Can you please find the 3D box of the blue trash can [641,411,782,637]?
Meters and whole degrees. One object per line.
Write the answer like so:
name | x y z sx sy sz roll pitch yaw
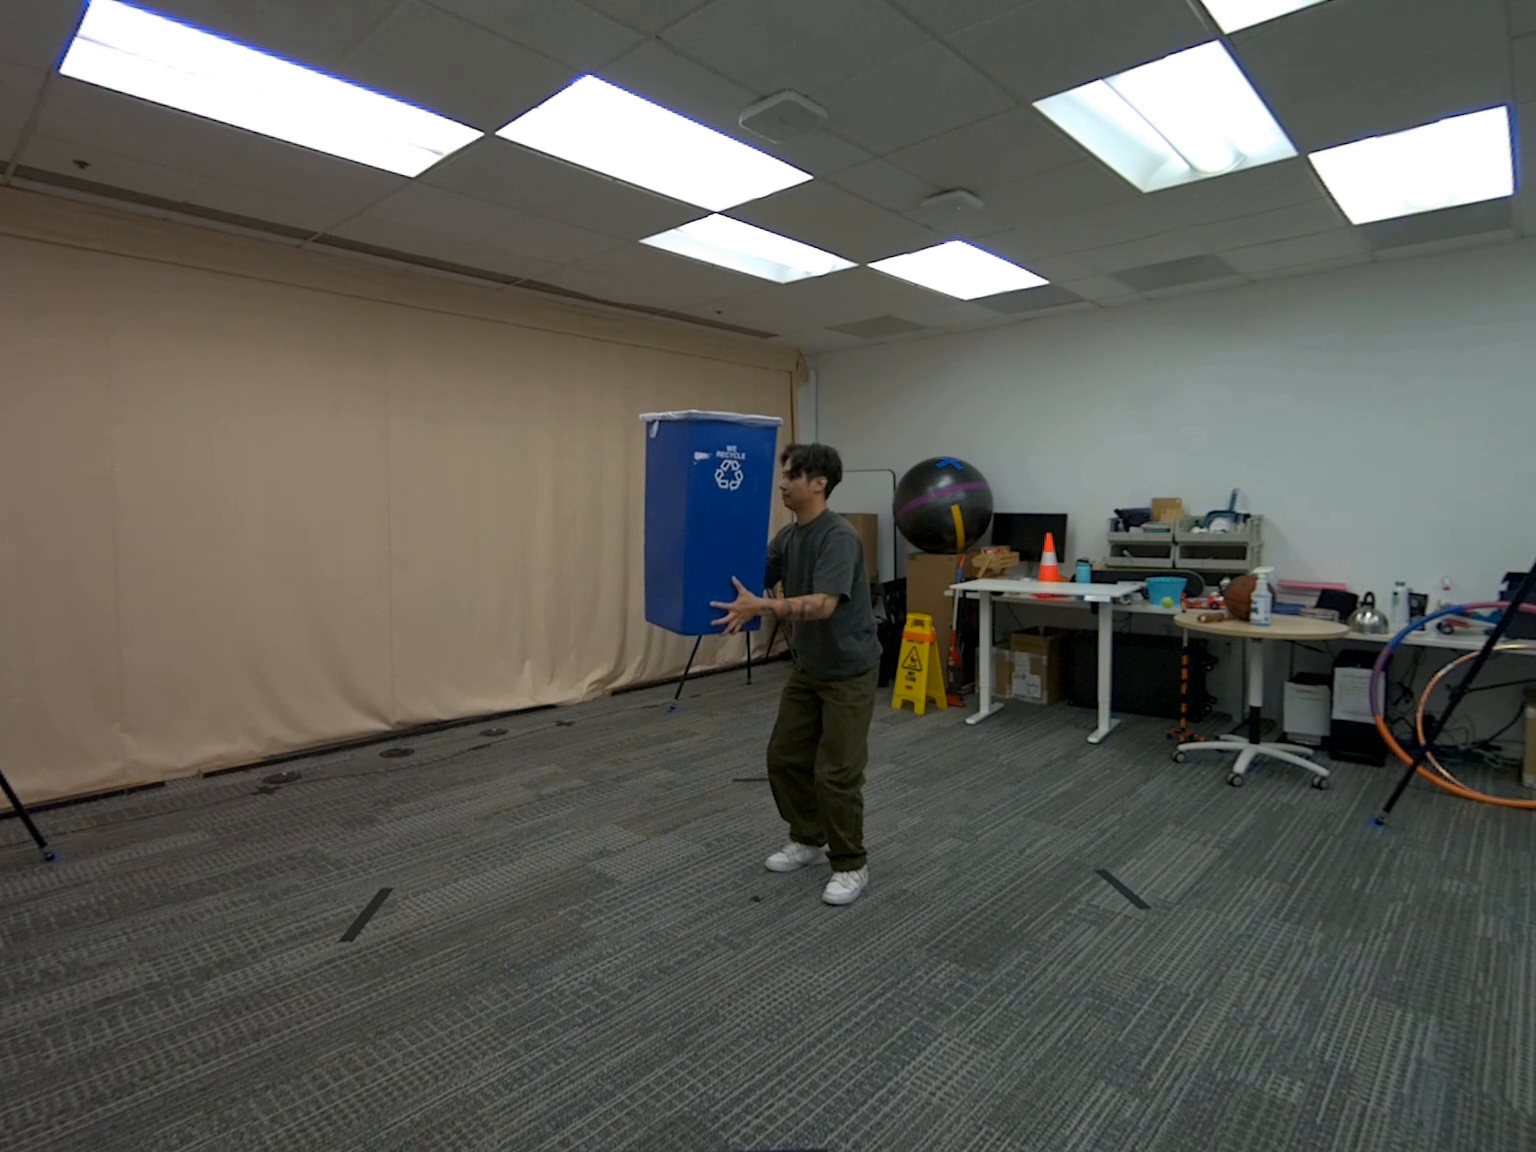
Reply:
blue trash can | -0.201 -0.187 2.857 0.367 0.711 0.386 -1 7 -33
